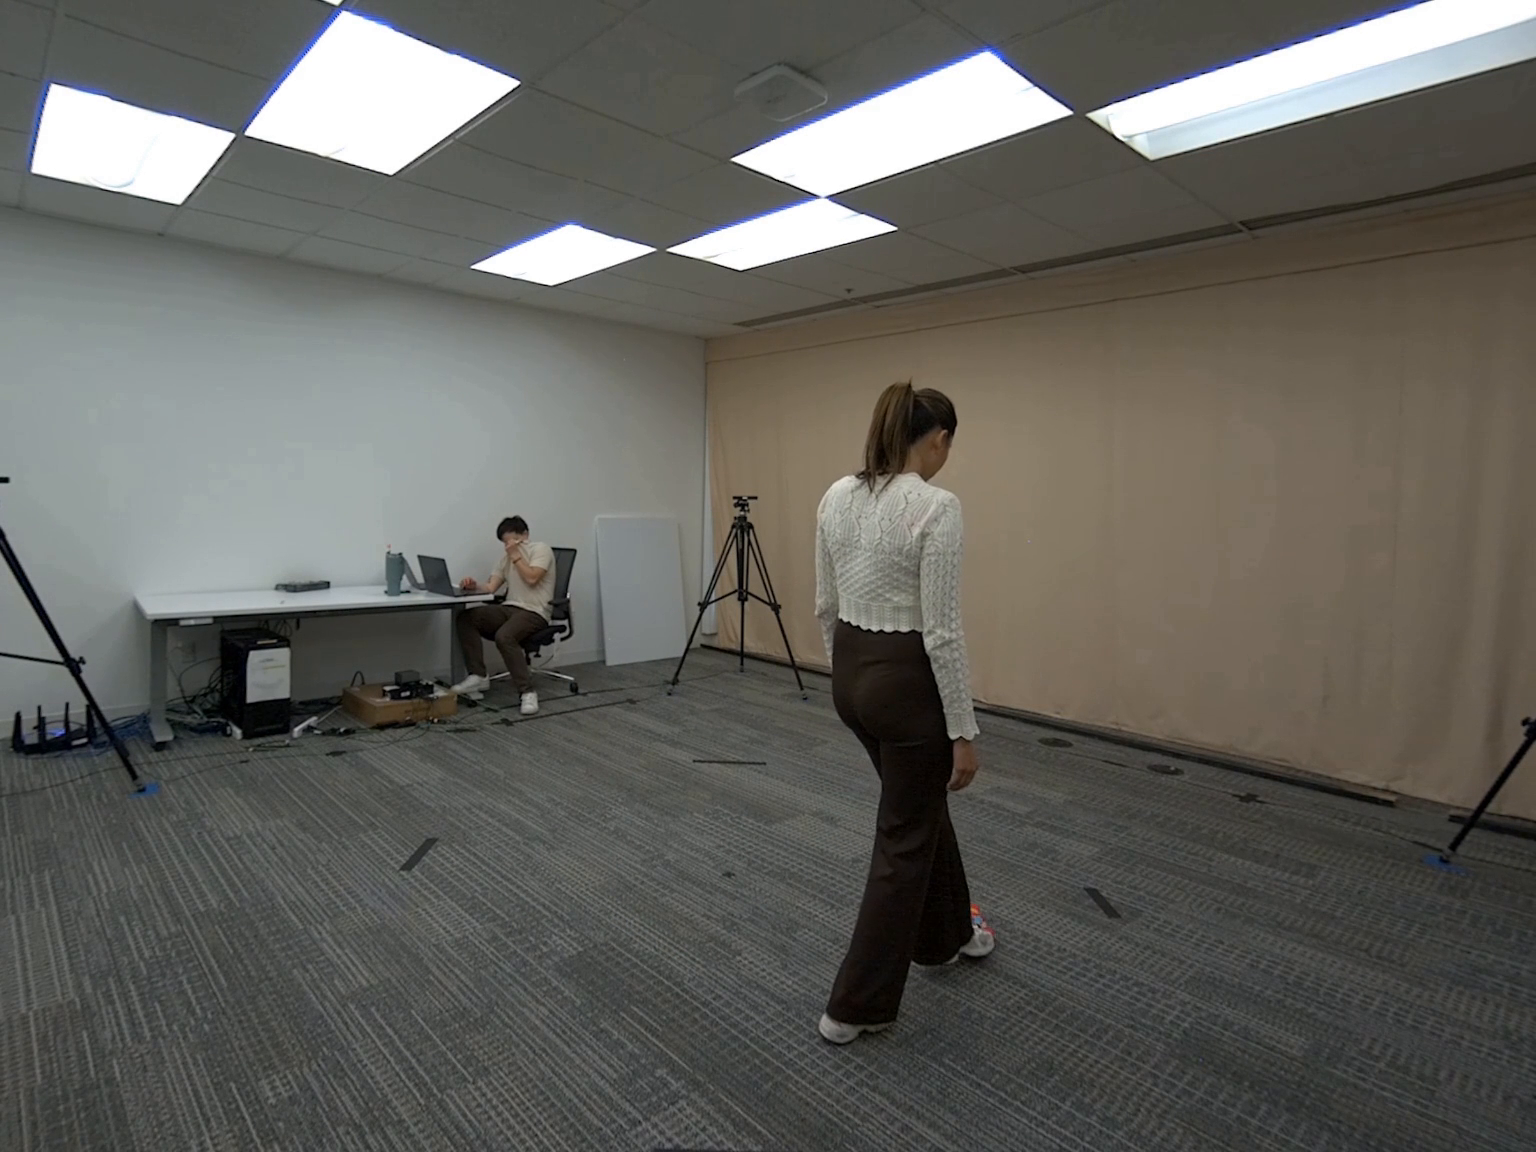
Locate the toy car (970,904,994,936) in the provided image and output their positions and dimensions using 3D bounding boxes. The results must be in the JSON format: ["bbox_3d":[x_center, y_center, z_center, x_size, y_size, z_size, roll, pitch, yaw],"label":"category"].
[{"bbox_3d":[0.649,1.128,2.749,0.130,0.082,0.258,-1,16,-3],"label":"toy car"}]
